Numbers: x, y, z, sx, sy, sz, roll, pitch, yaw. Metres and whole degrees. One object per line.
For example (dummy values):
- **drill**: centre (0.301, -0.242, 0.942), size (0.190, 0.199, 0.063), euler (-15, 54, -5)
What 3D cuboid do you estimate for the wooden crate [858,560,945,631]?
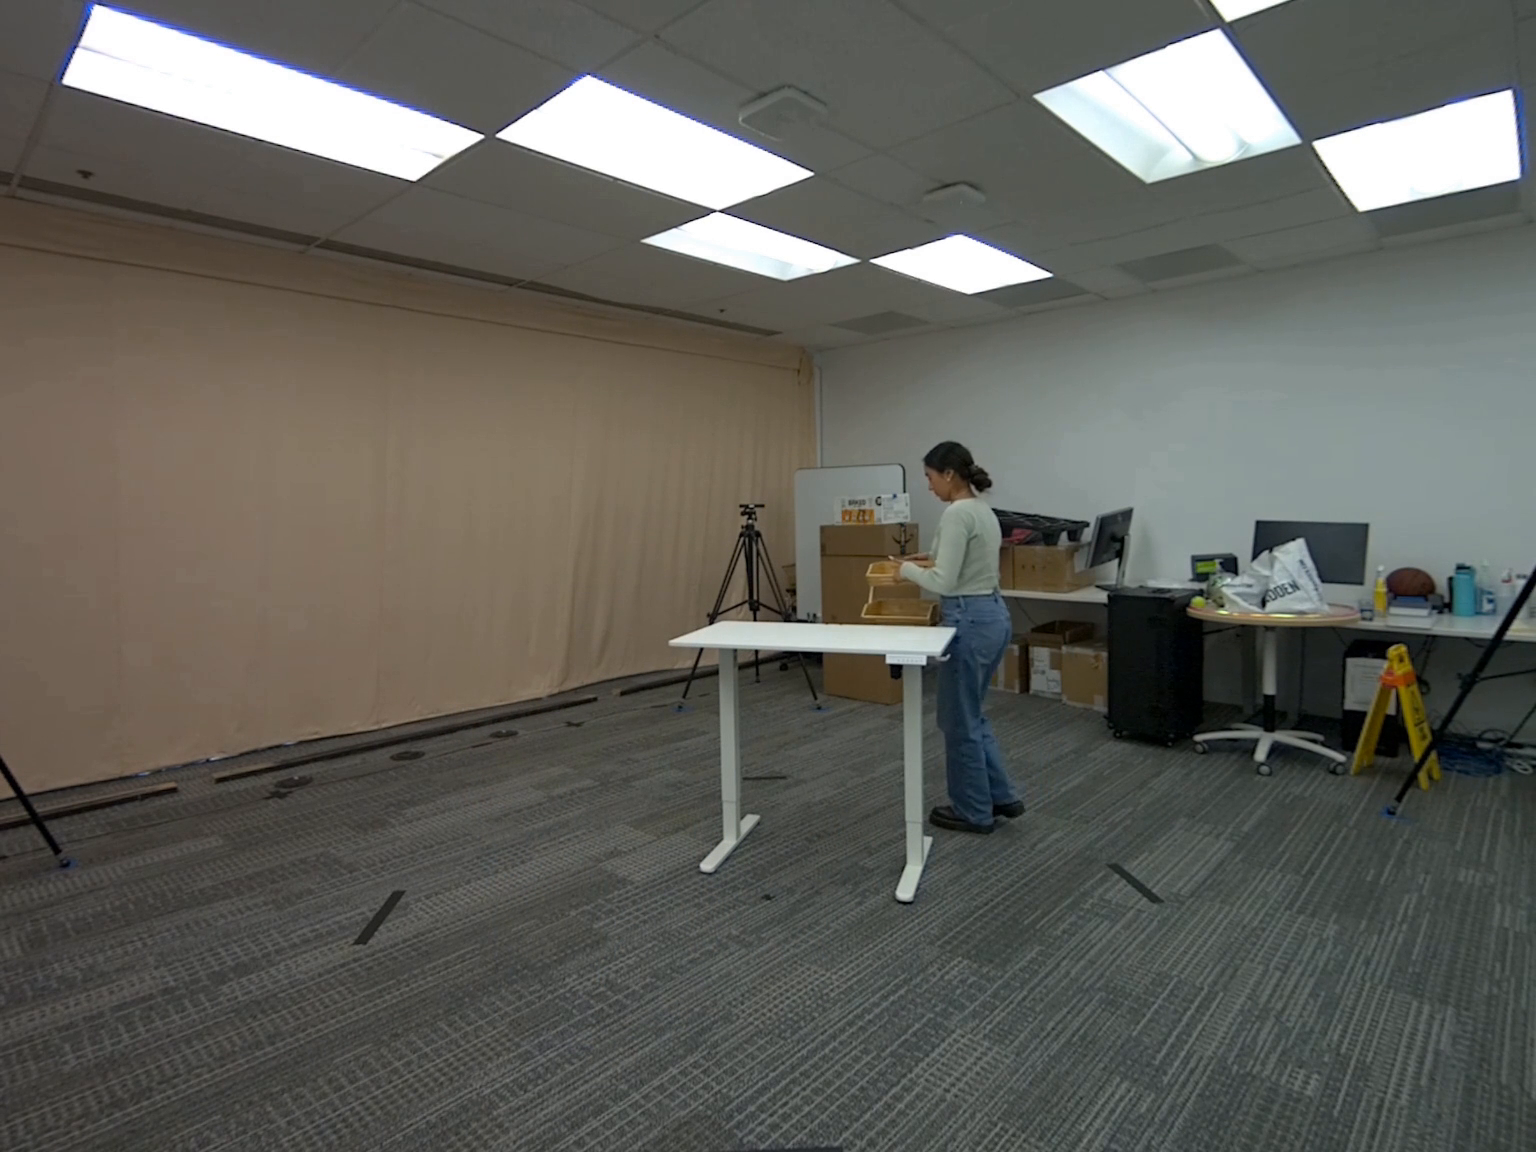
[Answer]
- **wooden crate**: centre (0.607, 0.074, 3.712), size (0.333, 0.273, 0.295), euler (-1, 4, 28)
